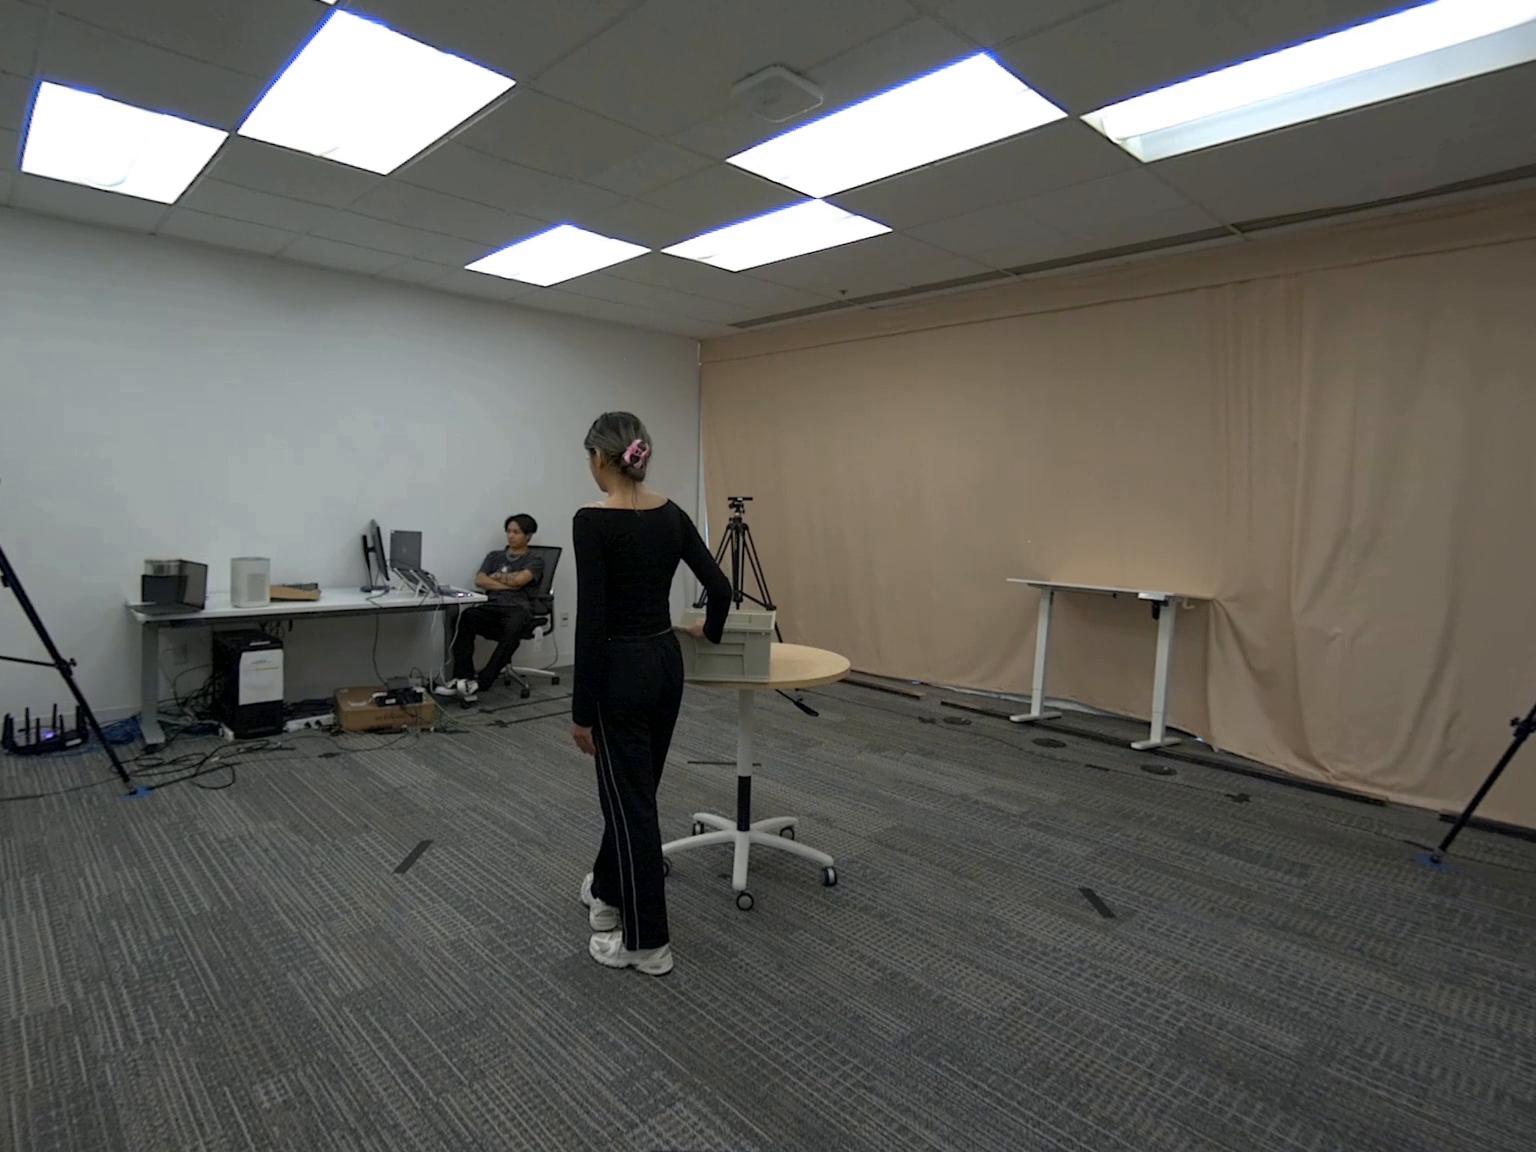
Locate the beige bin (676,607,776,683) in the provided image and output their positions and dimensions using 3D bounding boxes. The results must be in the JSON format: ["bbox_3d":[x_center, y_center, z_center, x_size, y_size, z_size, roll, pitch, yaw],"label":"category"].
[{"bbox_3d":[-0.179,0.239,2.968,0.378,0.188,0.423,2,5,2],"label":"beige bin"}]
